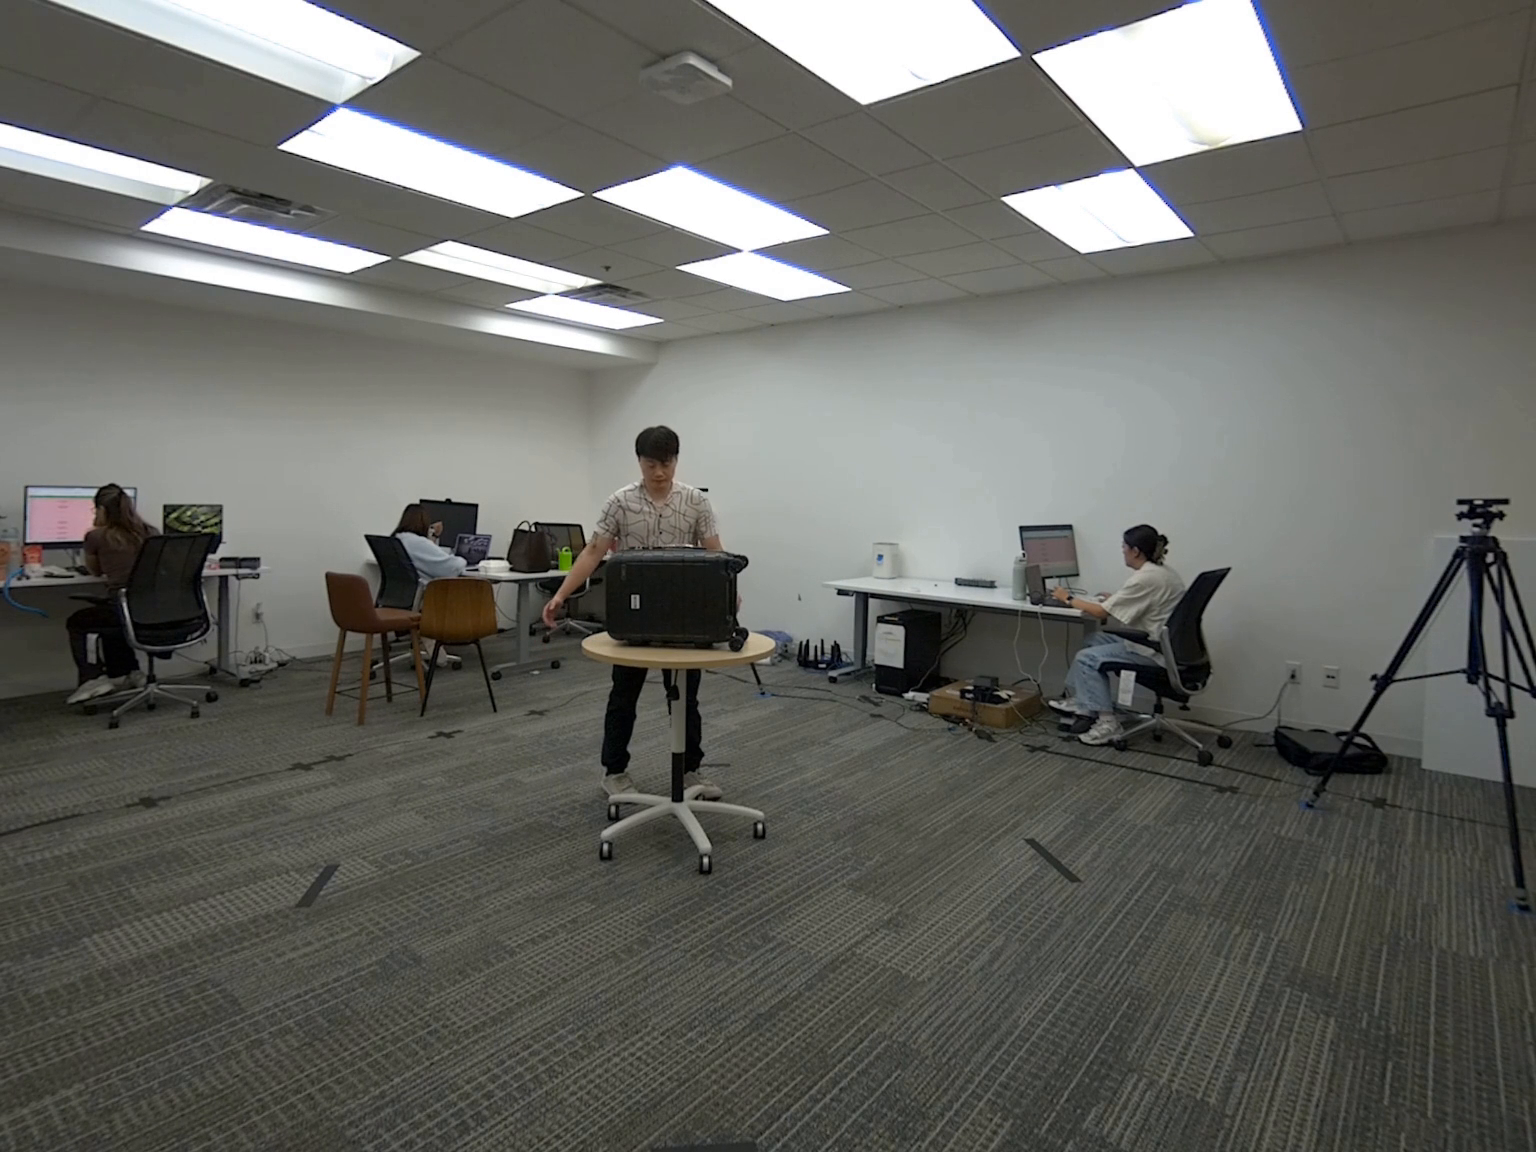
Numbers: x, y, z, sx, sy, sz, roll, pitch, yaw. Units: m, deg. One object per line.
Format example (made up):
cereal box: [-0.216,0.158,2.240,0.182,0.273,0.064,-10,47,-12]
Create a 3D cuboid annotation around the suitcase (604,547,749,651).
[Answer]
suitcase: [-0.372,0.071,3.323,0.554,0.374,0.247,2,4,7]
